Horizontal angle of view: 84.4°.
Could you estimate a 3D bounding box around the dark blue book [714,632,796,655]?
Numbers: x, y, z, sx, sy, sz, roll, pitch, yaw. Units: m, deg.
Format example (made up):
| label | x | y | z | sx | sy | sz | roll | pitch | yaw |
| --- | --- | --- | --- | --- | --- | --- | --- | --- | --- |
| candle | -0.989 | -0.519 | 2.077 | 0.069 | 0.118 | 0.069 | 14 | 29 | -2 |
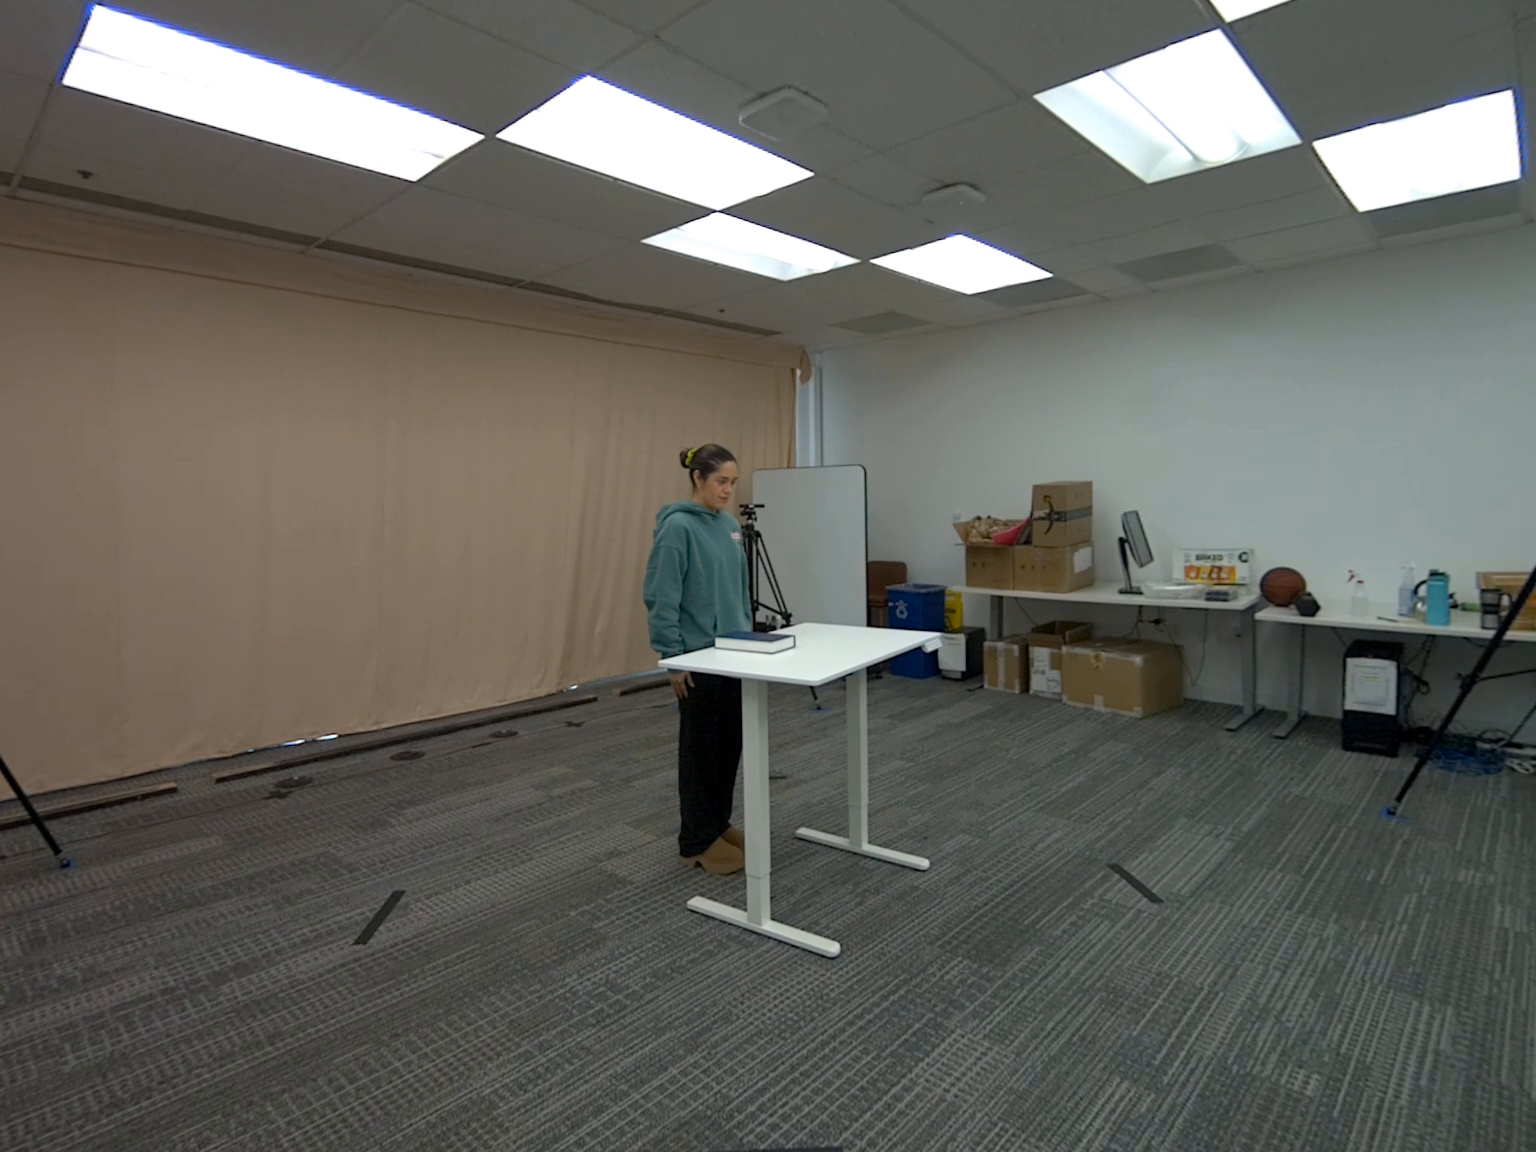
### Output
| label | x | y | z | sx | sy | sz | roll | pitch | yaw |
| --- | --- | --- | --- | --- | --- | --- | --- | --- | --- |
| dark blue book | -0.040 | 0.237 | 3.006 | 0.252 | 0.045 | 0.159 | 2 | 5 | 31 |
